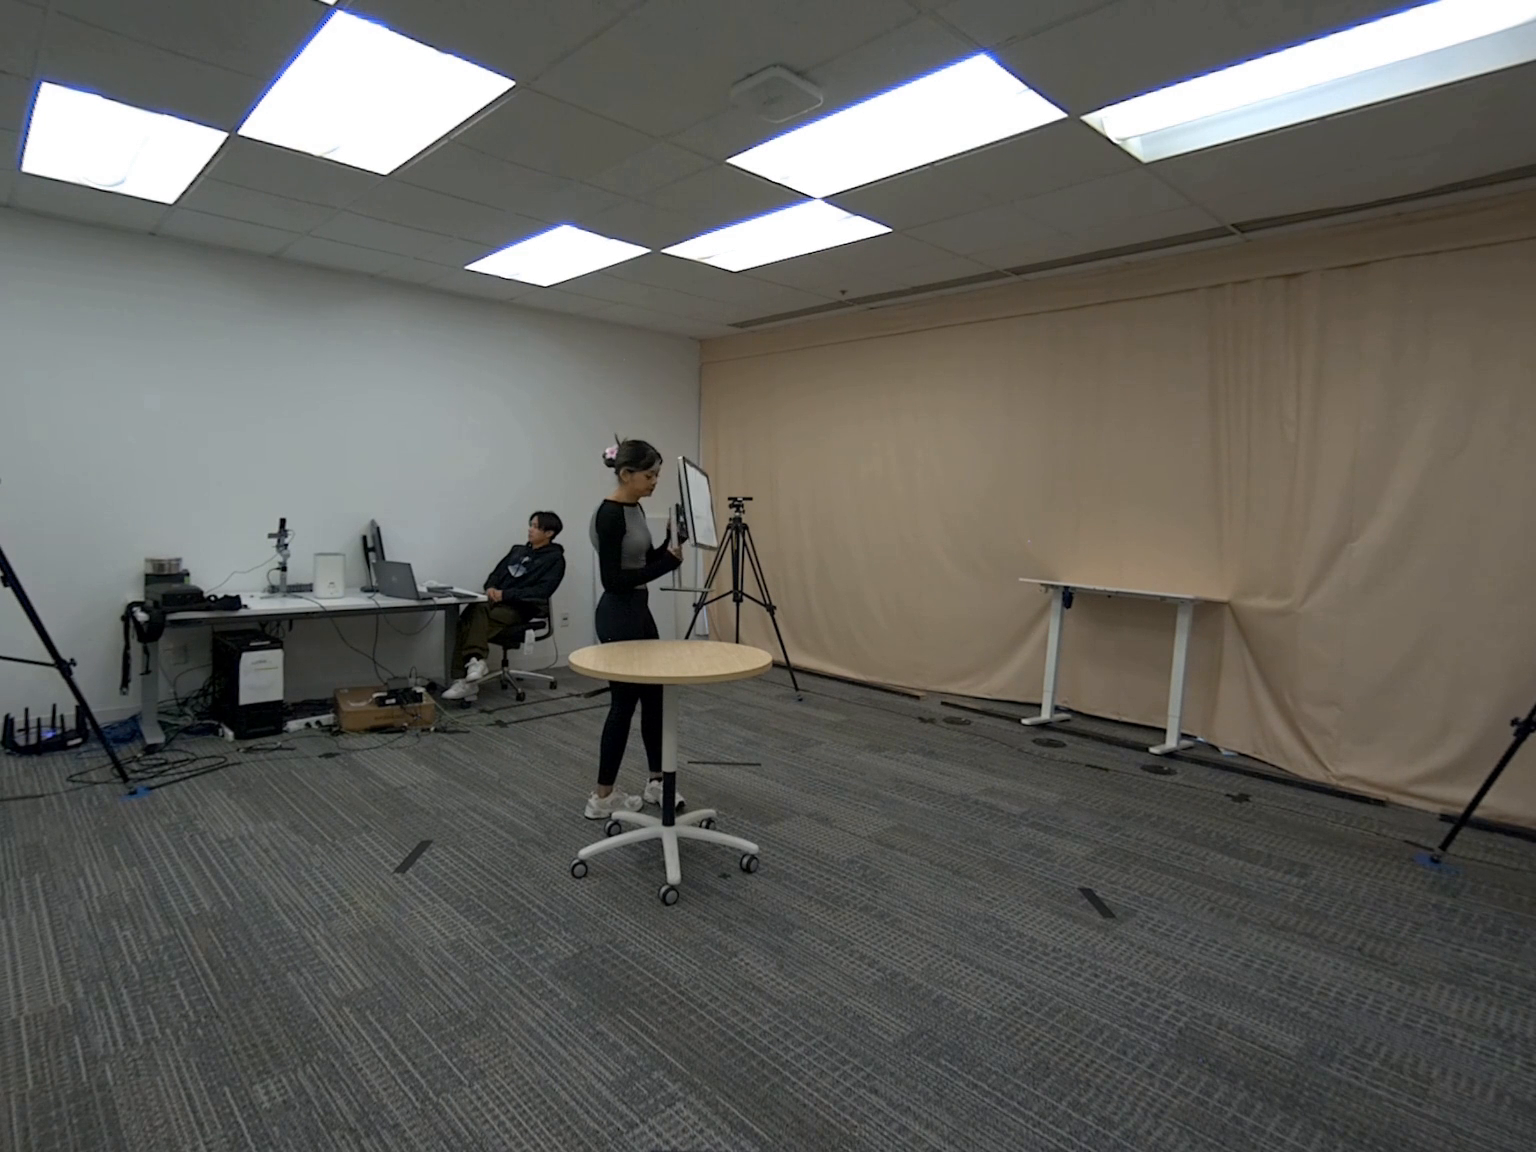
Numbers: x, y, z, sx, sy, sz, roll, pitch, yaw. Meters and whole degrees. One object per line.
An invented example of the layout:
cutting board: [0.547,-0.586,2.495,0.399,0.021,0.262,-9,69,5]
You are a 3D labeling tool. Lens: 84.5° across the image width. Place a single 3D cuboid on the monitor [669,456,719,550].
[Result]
monitor: [-0.344,-0.200,3.618,0.188,0.523,0.535,3,-2,5]
